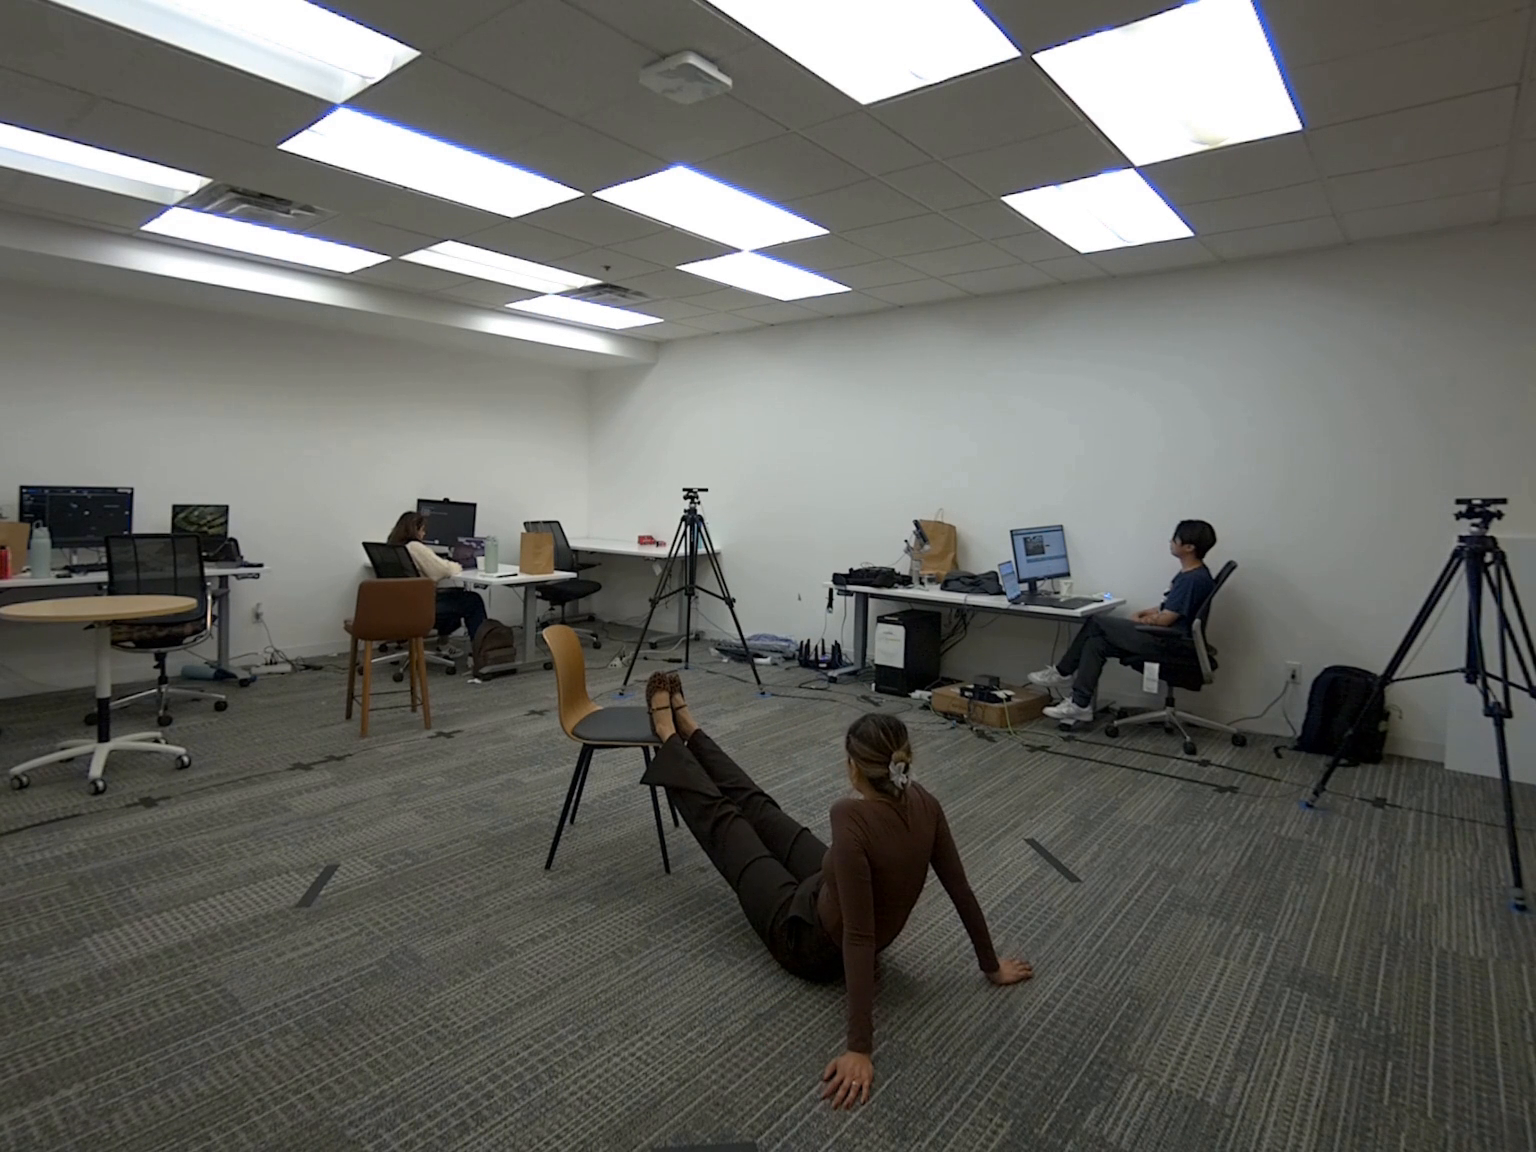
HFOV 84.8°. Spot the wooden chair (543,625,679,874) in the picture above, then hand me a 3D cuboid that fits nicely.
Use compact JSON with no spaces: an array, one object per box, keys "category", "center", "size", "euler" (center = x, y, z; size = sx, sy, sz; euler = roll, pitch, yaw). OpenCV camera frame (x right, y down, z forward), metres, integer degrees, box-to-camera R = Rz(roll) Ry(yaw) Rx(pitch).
[{"category":"wooden chair","center":[-0.585,0.621,3.267],"size":[0.524,0.875,0.479],"euler":[-3,3,1]}]
